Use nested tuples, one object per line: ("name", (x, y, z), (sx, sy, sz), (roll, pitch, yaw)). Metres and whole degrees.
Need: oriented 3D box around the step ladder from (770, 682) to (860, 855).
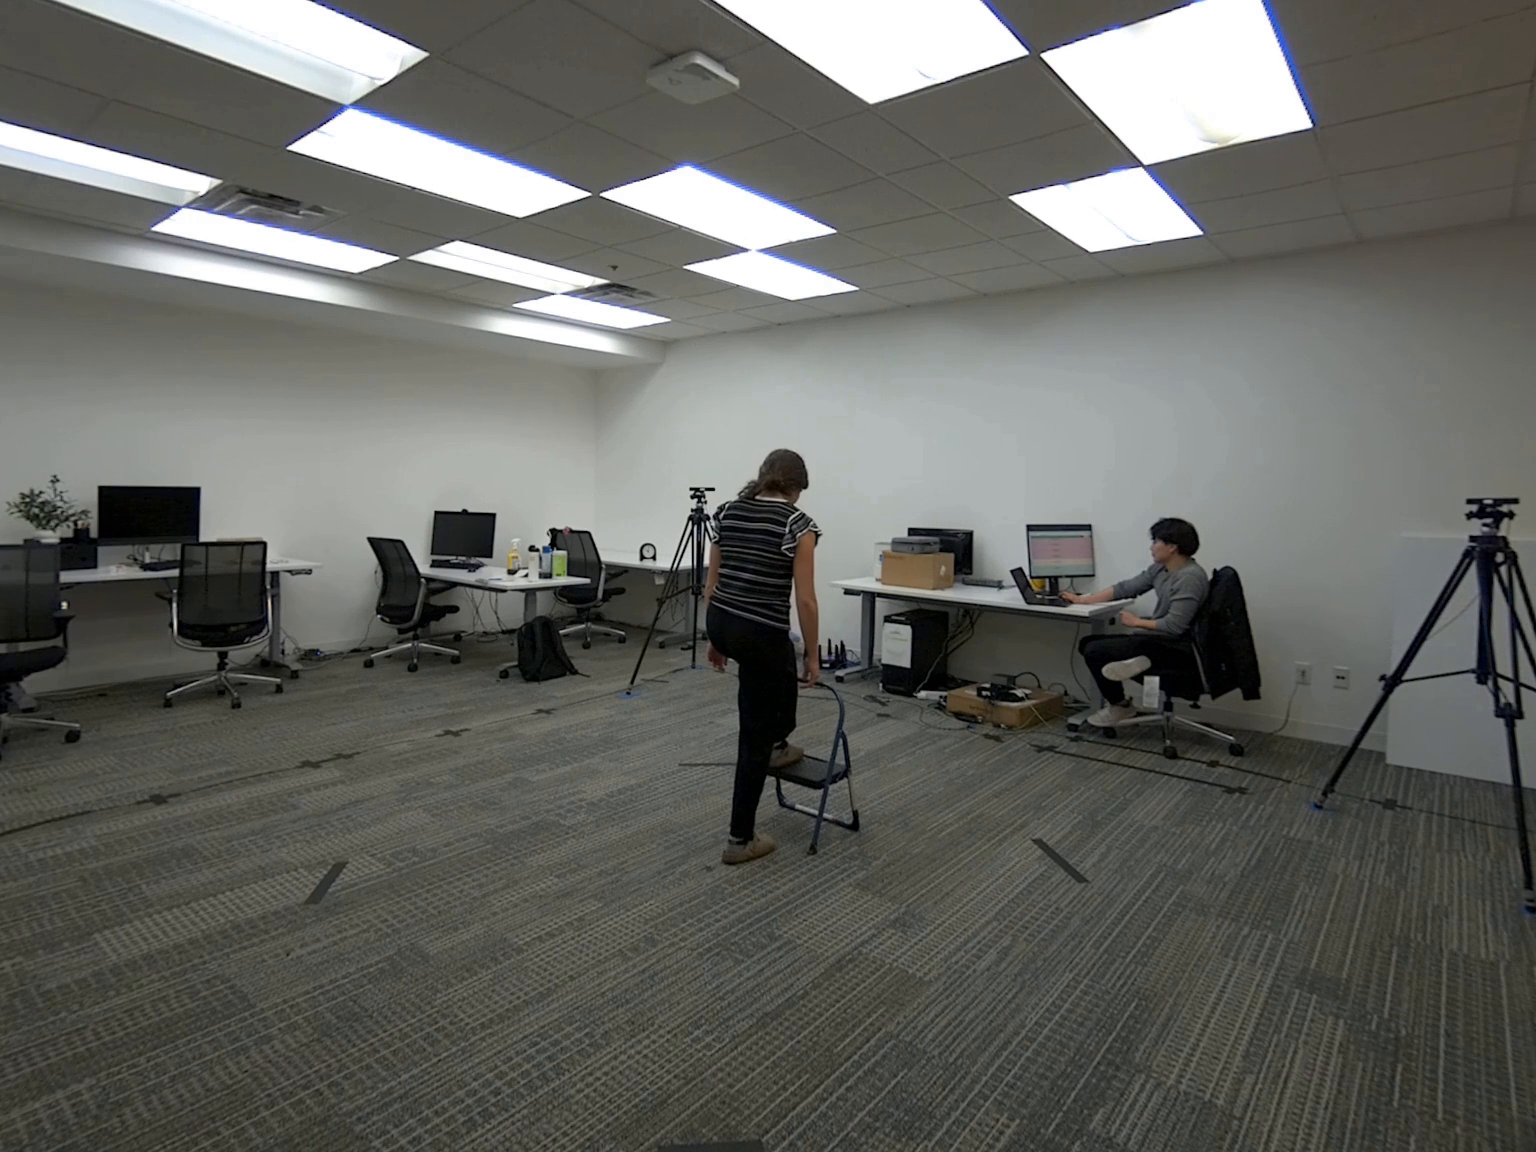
("step ladder", (0.115, 0.734, 3.495), (0.445, 0.604, 0.339), (4, 4, 40))
